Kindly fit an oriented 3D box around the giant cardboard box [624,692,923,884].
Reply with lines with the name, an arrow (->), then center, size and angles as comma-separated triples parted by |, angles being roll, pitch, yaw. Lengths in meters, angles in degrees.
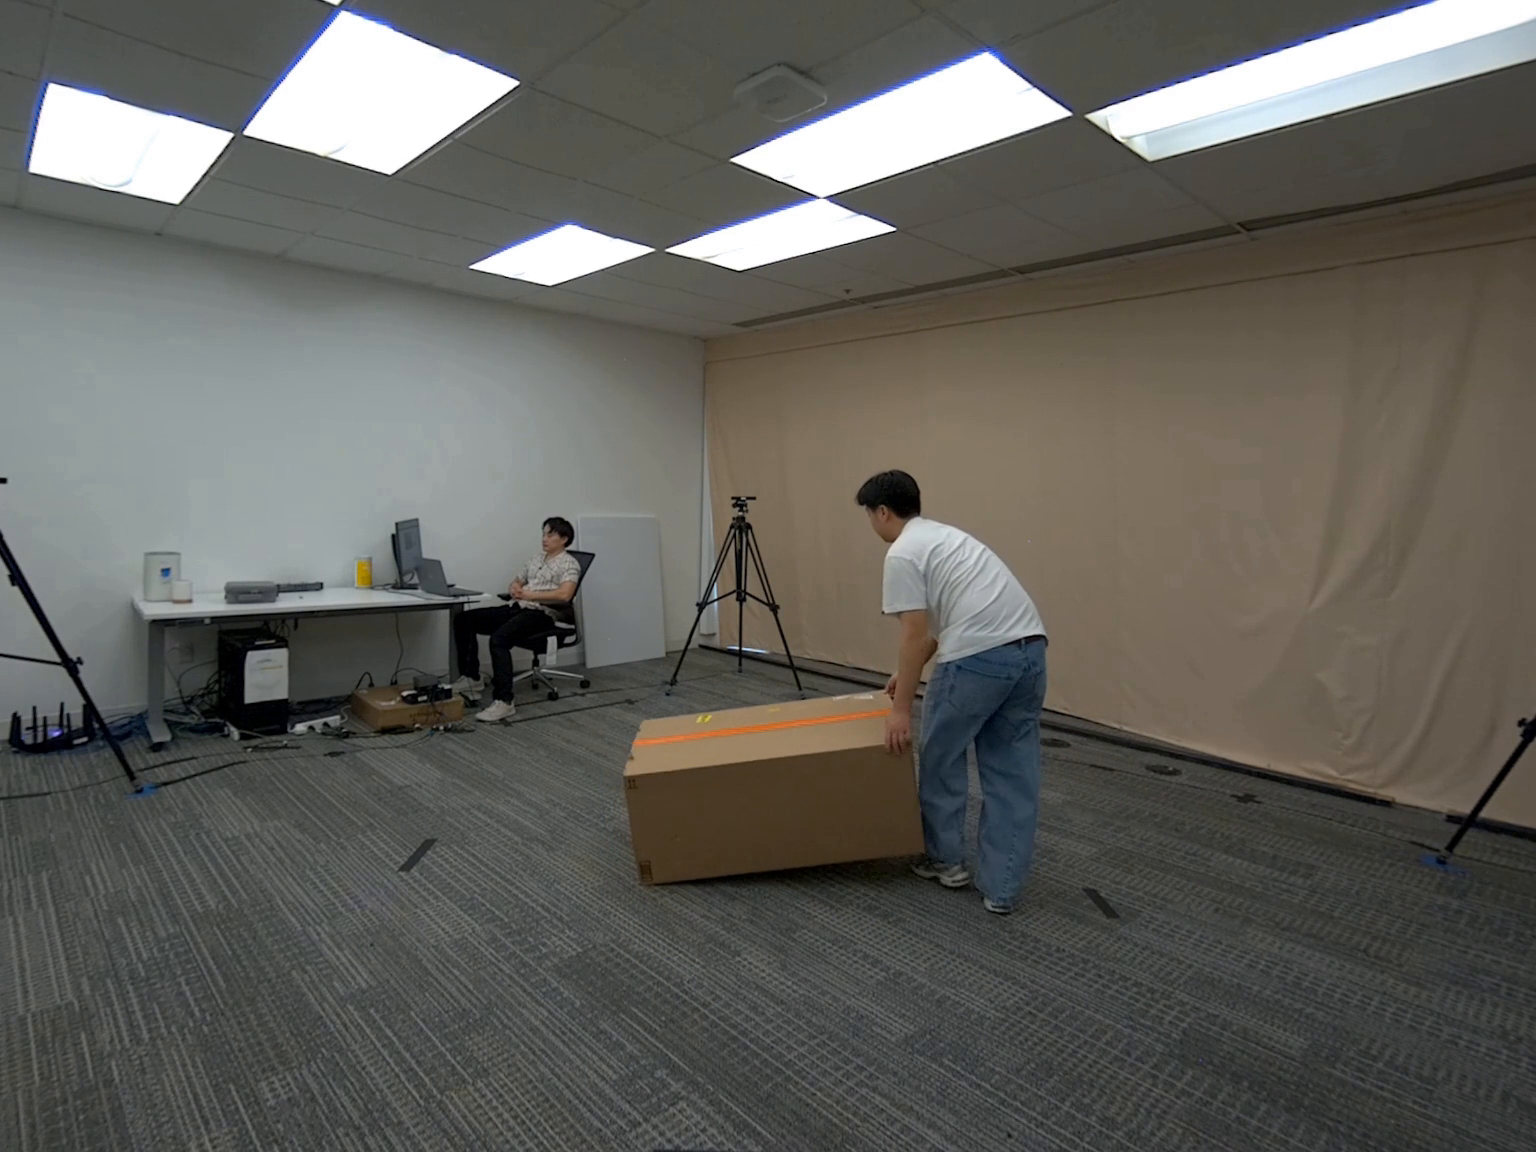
giant cardboard box -> 0.003, 0.784, 3.255 | 1.028, 0.423, 0.580 | -7, 9, 3
